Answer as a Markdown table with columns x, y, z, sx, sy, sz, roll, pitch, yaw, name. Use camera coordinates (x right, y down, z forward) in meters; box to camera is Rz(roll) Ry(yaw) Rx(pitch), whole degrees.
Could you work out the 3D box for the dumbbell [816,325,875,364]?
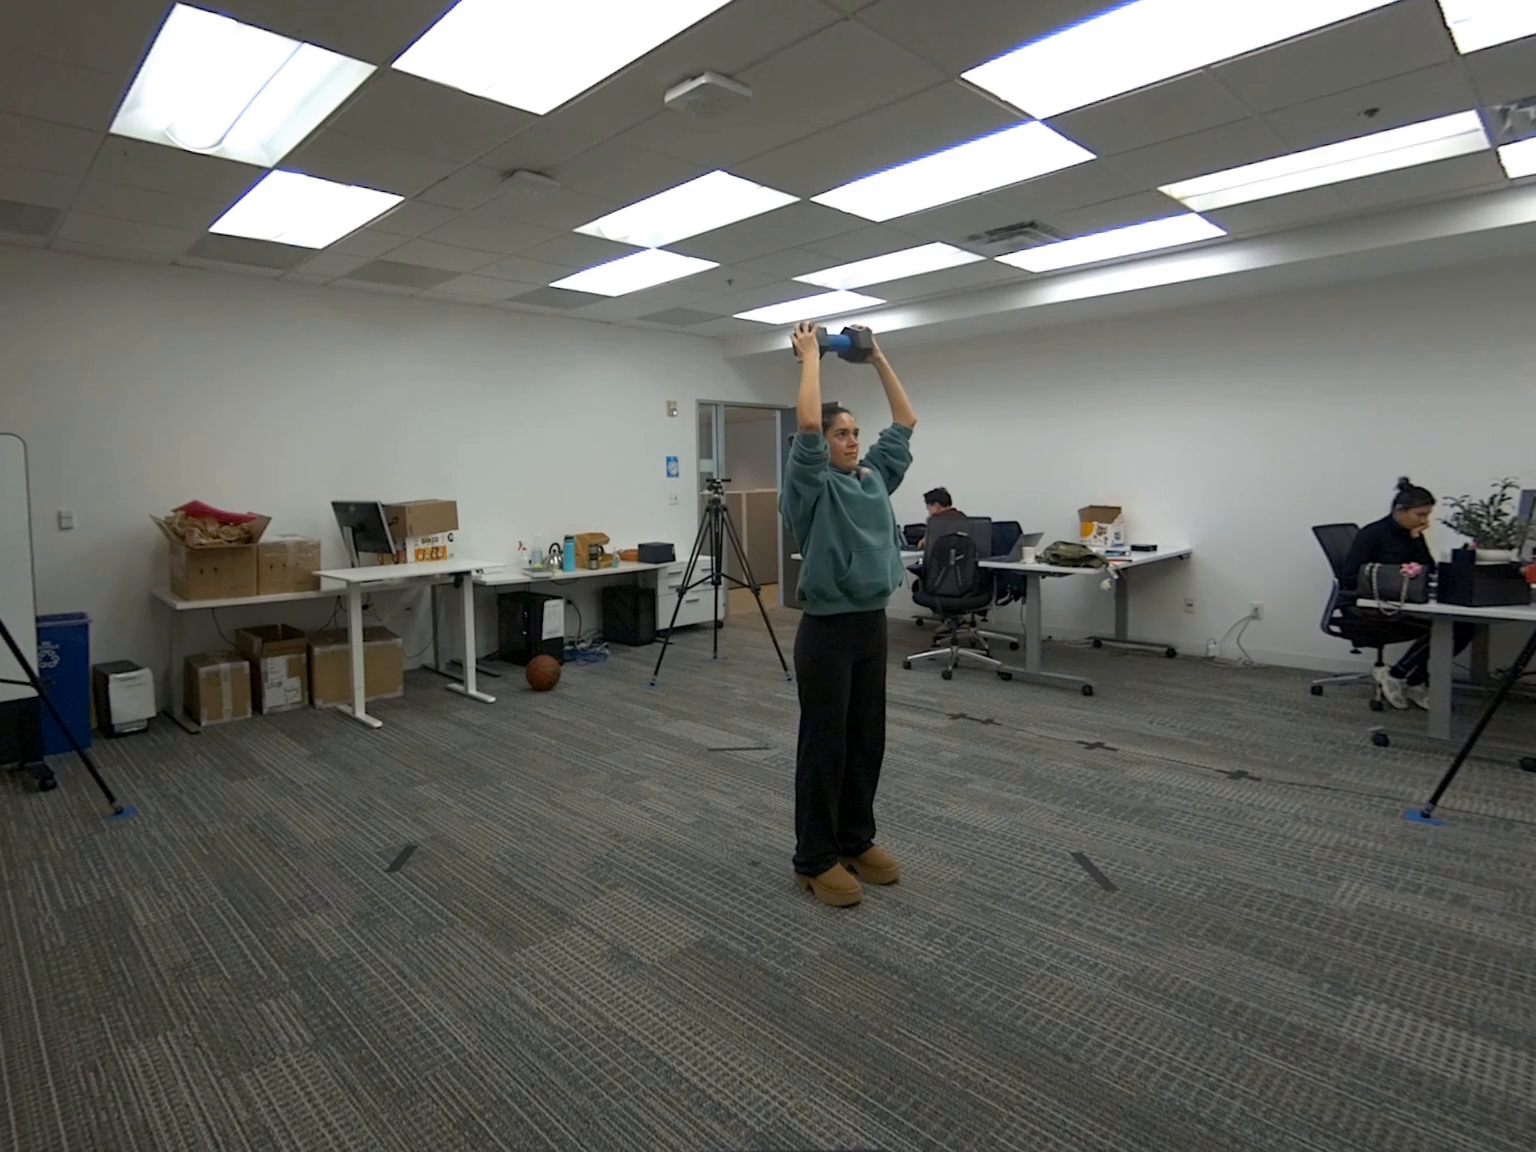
| x | y | z | sx | sy | sz | roll | pitch | yaw | name |
| --- | --- | --- | --- | --- | --- | --- | --- | --- | --- |
| 0.217 | -0.776 | 2.840 | 0.287 | 0.123 | 0.111 | -11 | 0 | -41 | dumbbell |
